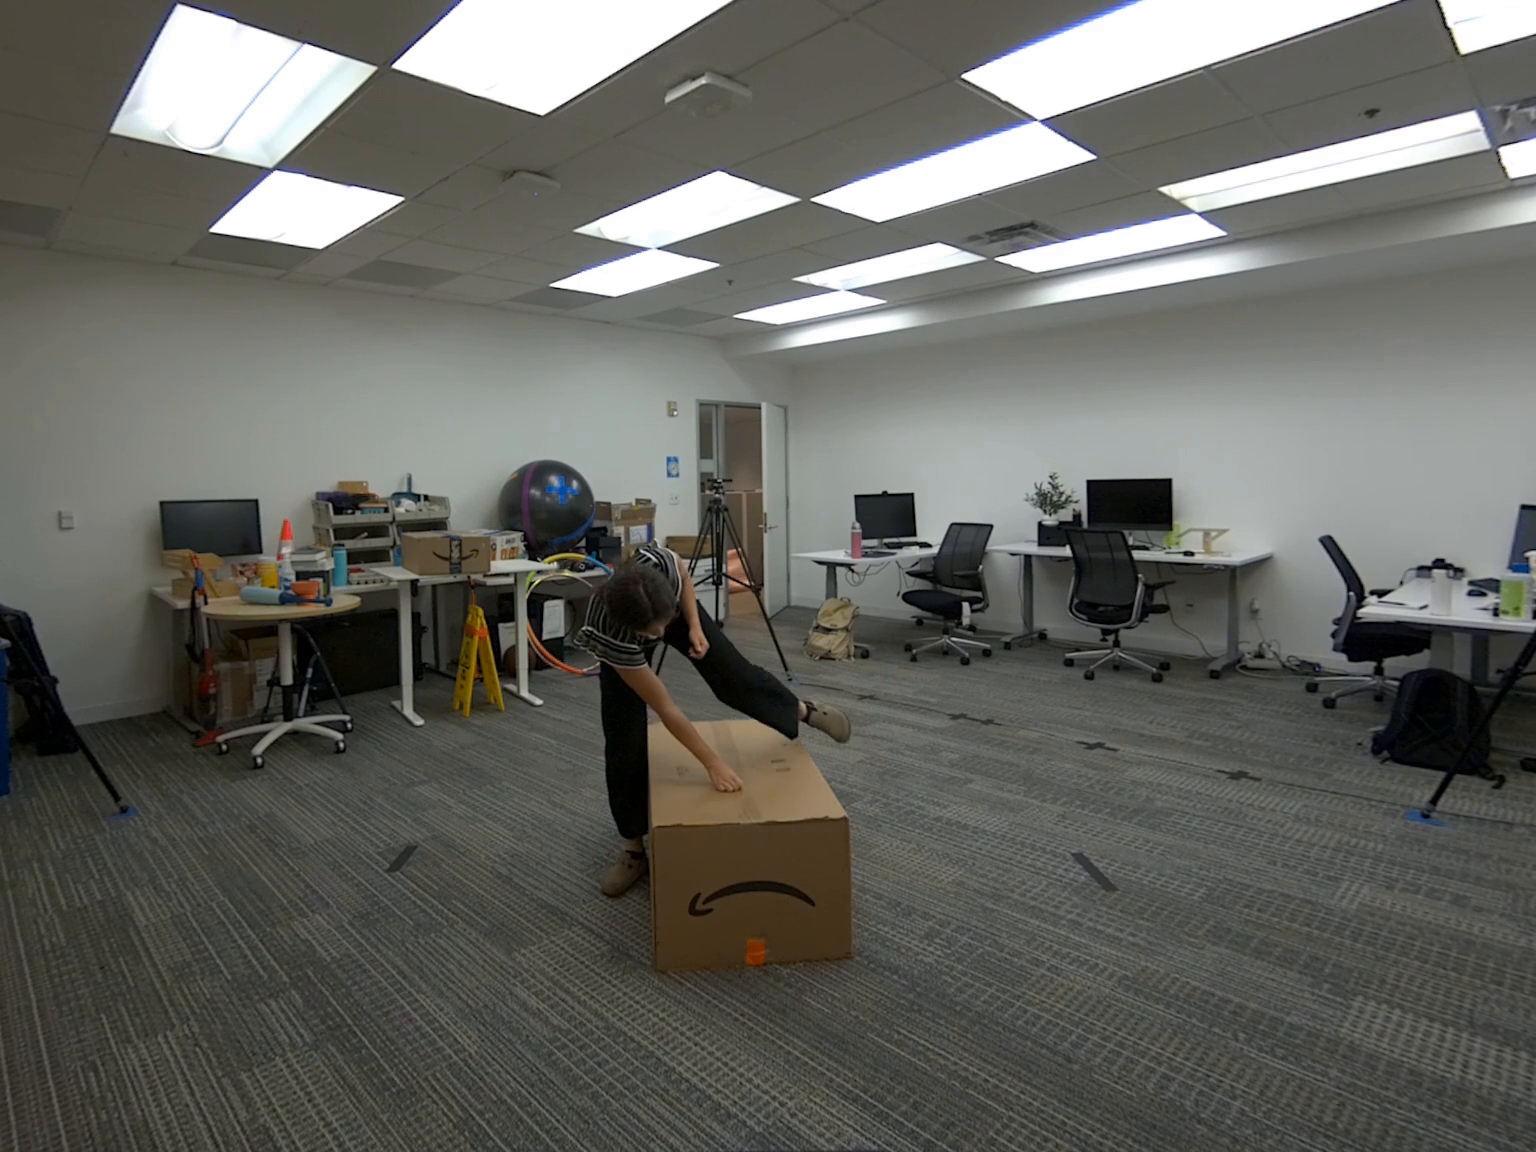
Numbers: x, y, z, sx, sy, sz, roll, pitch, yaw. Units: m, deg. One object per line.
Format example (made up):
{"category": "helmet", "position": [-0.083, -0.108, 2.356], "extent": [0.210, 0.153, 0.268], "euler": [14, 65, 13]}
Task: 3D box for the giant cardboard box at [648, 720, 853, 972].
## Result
{"category": "giant cardboard box", "position": [-0.120, 0.857, 2.947], "extent": [0.574, 0.424, 1.037], "euler": [-2, 7, -7]}
